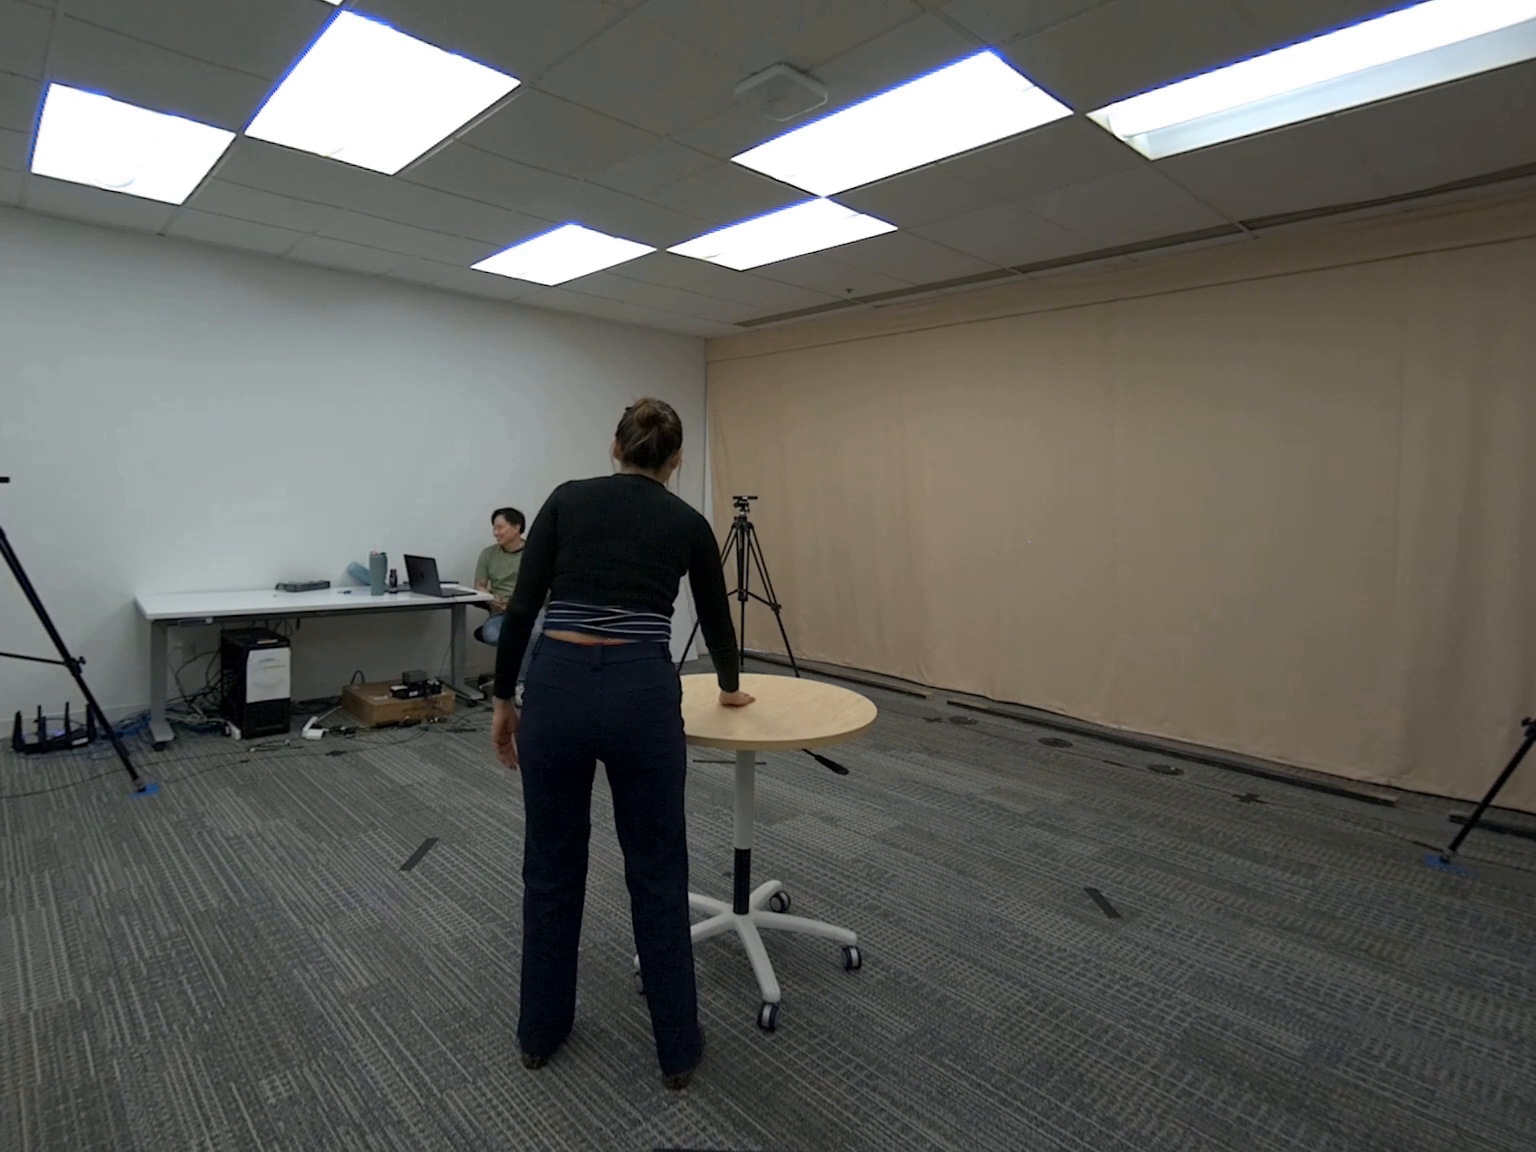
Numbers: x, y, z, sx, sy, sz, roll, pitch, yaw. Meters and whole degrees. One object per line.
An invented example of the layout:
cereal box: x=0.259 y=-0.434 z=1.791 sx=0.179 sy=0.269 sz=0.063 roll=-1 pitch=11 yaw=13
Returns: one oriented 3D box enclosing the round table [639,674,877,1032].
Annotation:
round table: x=-0.081 y=0.768 z=2.530 sx=0.763 sy=0.791 sz=0.767 roll=1 pitch=5 yaw=-1
